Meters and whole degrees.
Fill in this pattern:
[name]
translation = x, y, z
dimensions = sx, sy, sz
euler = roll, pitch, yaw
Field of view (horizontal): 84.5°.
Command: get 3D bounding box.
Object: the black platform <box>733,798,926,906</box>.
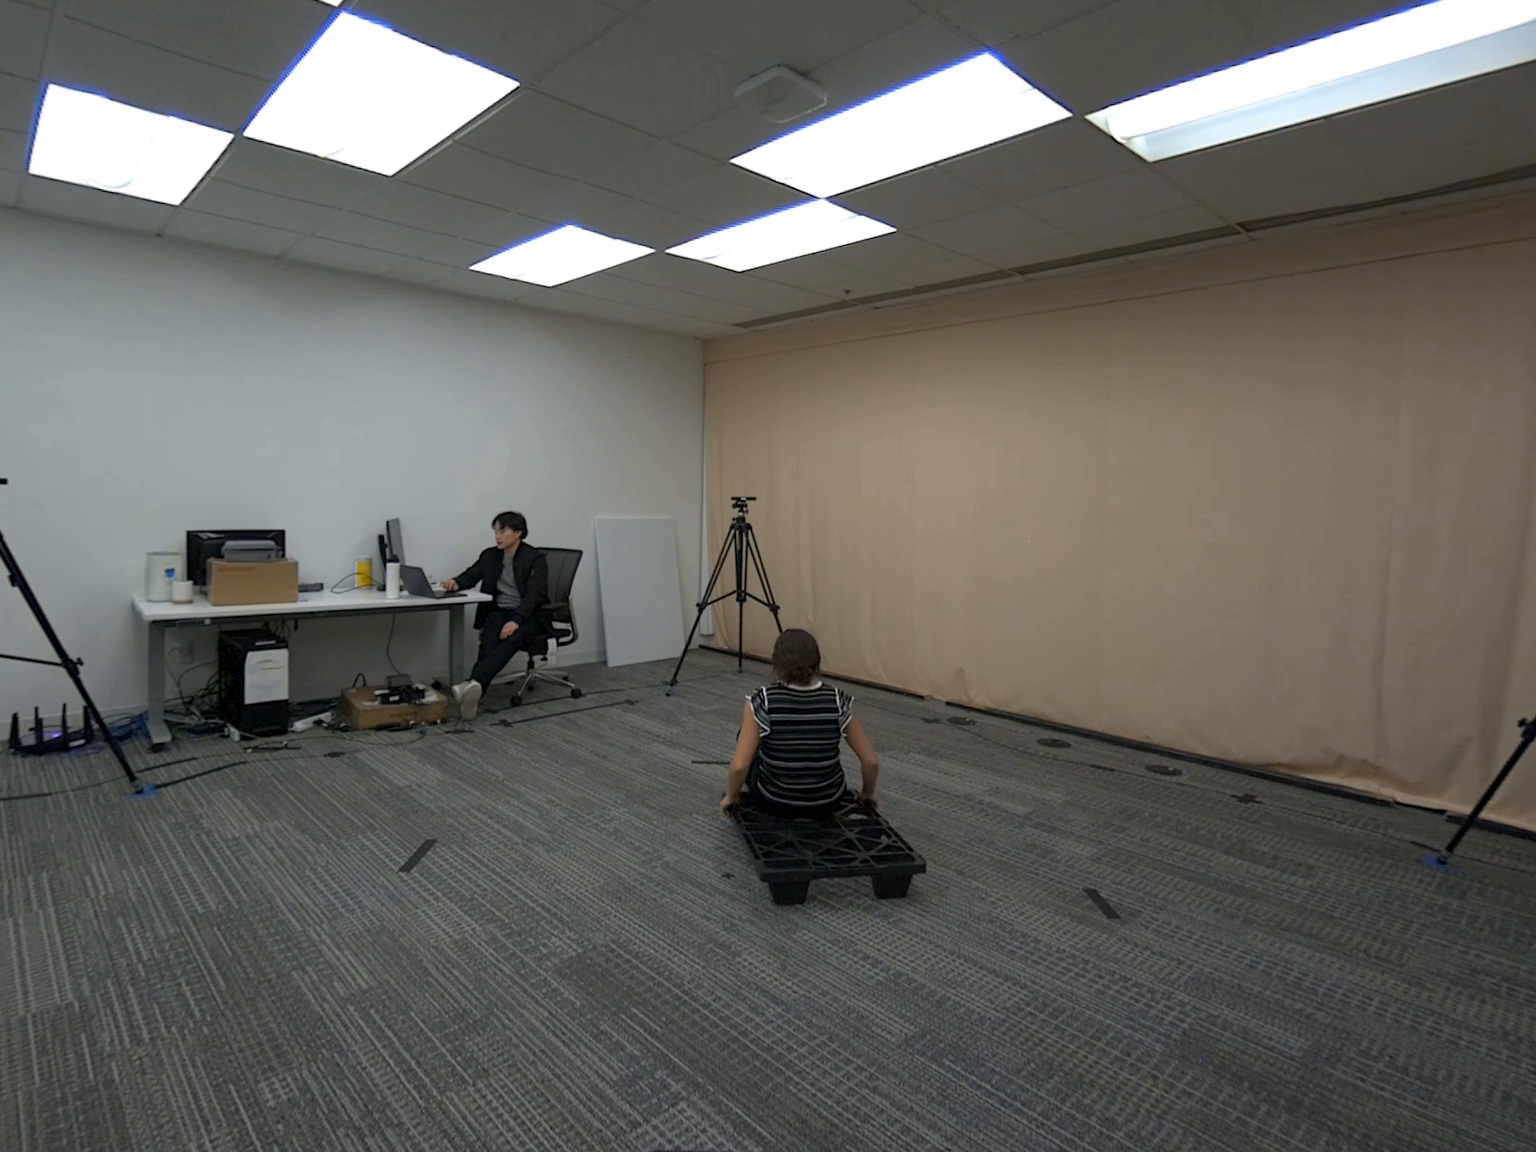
[black platform]
translation = 0.169, 1.032, 3.275
dimensions = 0.600, 0.143, 0.814
euler = 1, 4, -11
